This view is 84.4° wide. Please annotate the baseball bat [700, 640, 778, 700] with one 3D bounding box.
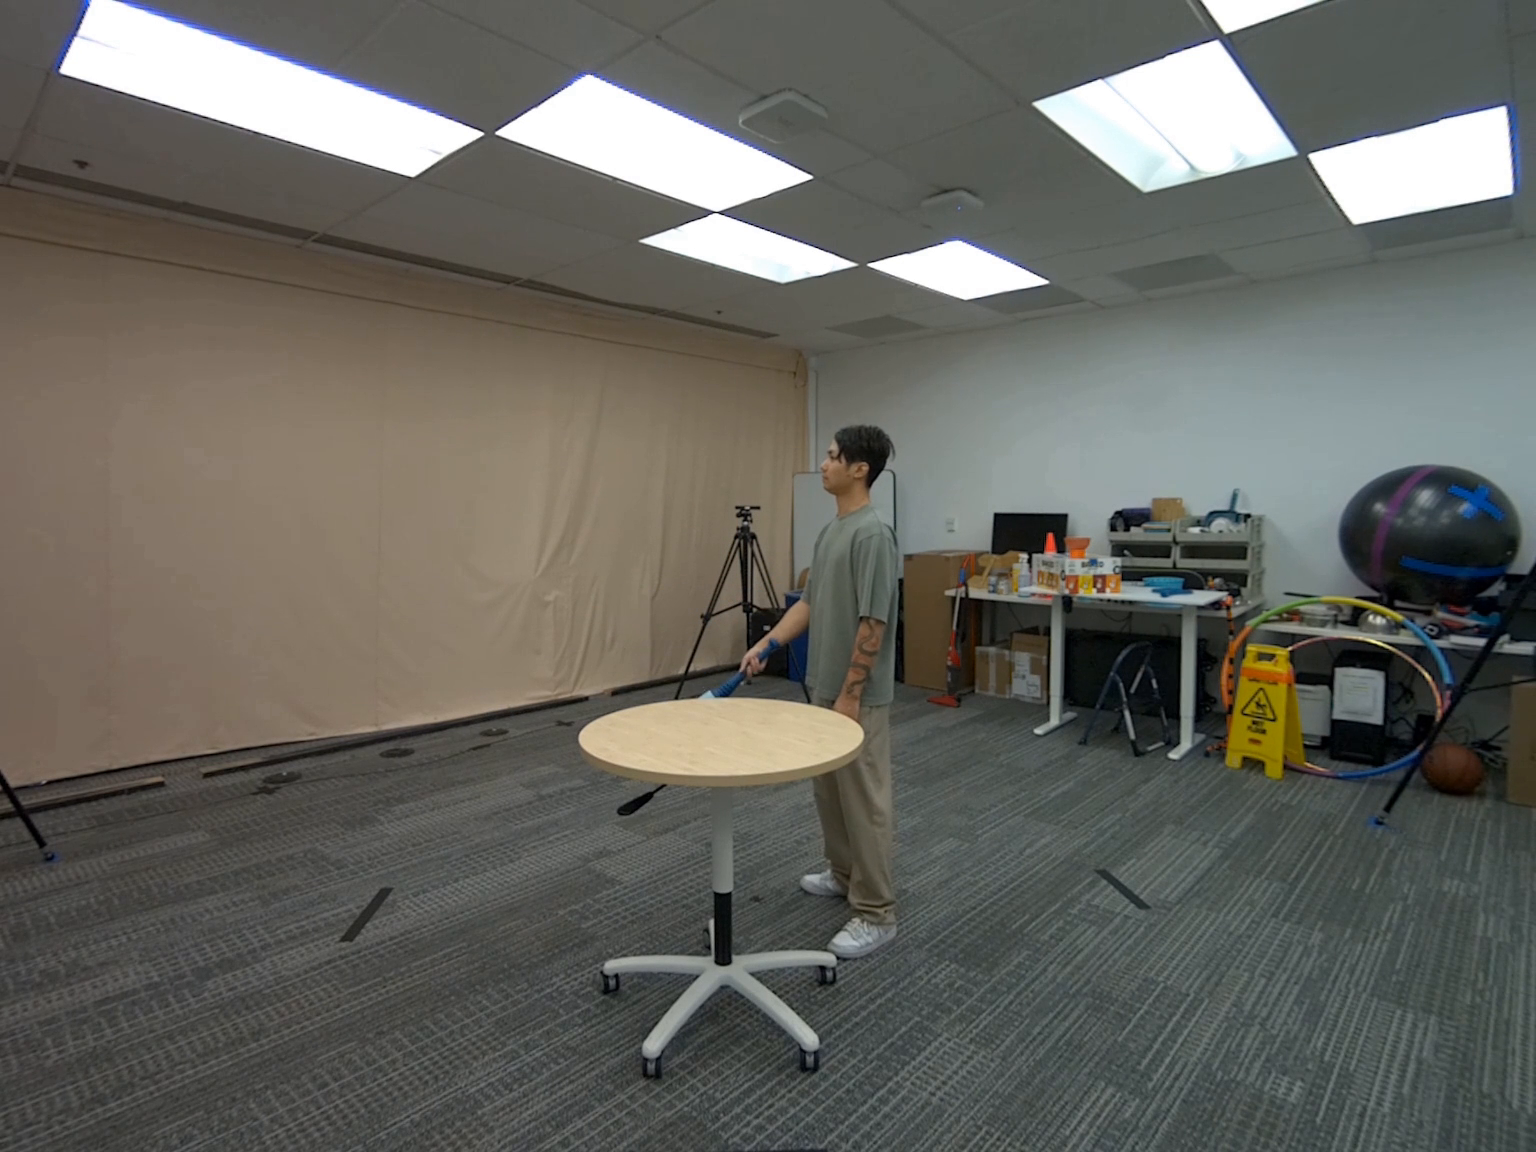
[{"bbox_3d":[-0.165,0.419,2.967,0.543,0.089,0.089,-41,4,2],"label":"baseball bat"}]
